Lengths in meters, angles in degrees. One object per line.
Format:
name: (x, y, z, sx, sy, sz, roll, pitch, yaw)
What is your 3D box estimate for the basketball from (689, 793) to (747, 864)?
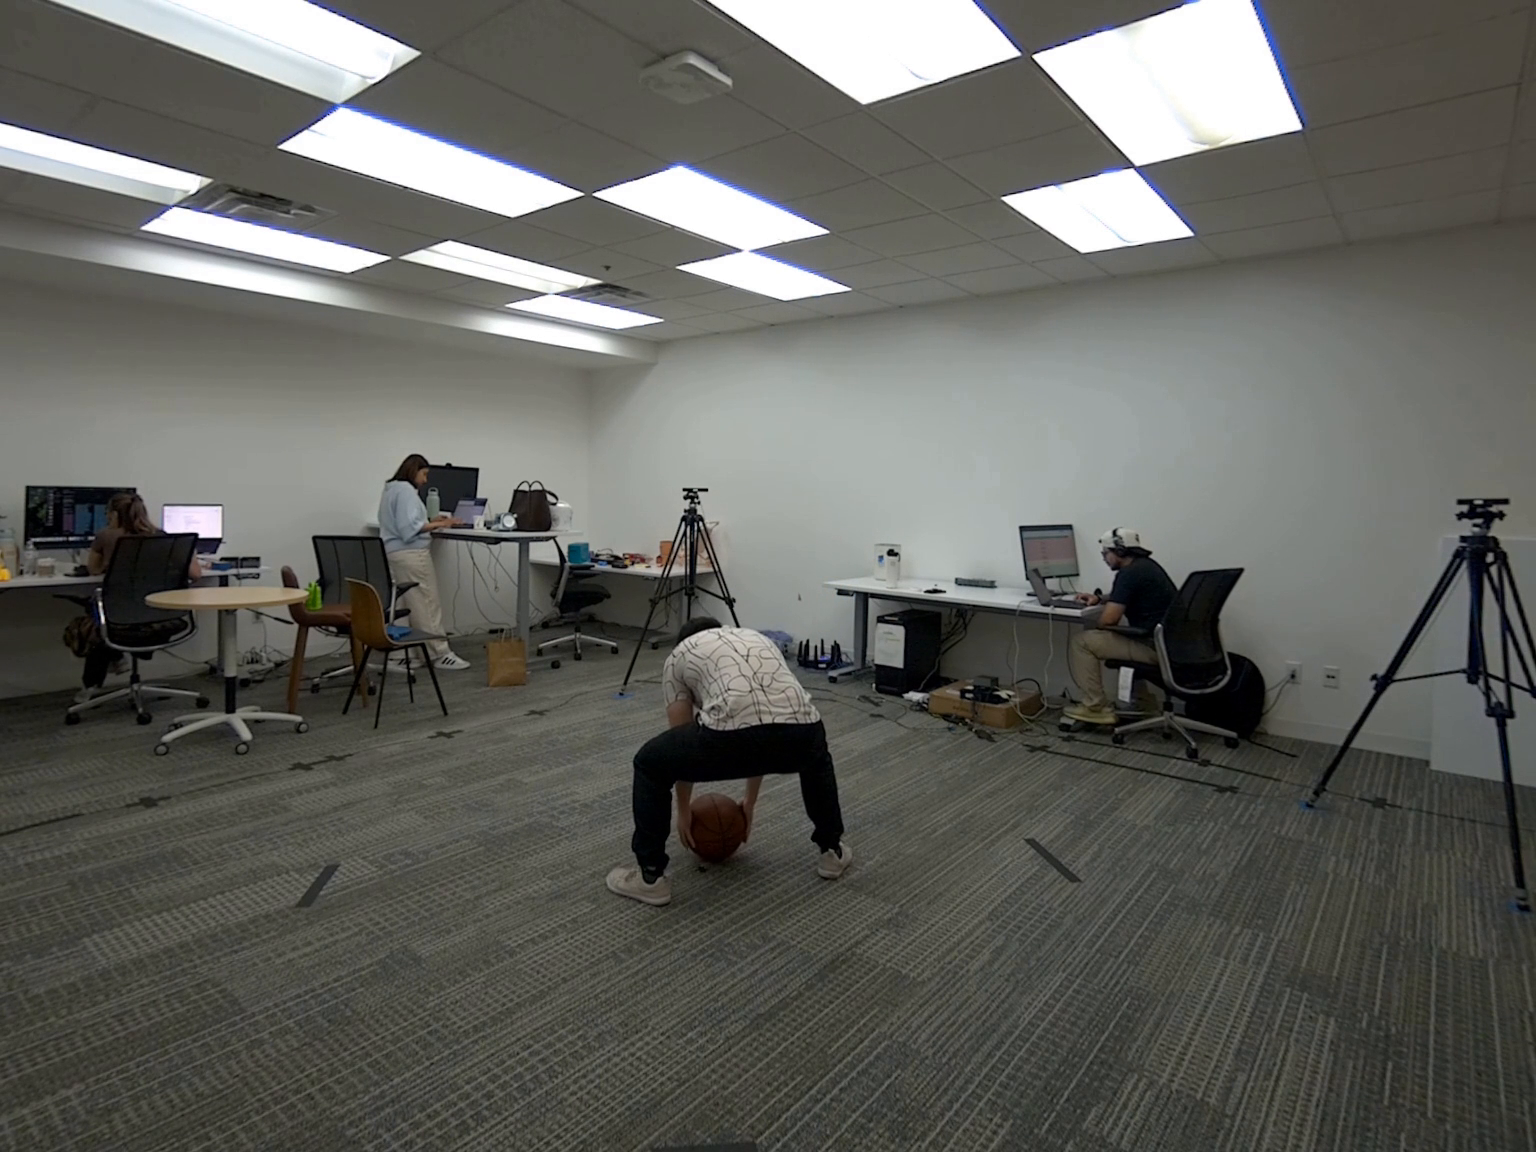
basketball: (-0.212, 0.936, 3.216, 0.235, 0.235, 0.237, 1, 4, -2)
